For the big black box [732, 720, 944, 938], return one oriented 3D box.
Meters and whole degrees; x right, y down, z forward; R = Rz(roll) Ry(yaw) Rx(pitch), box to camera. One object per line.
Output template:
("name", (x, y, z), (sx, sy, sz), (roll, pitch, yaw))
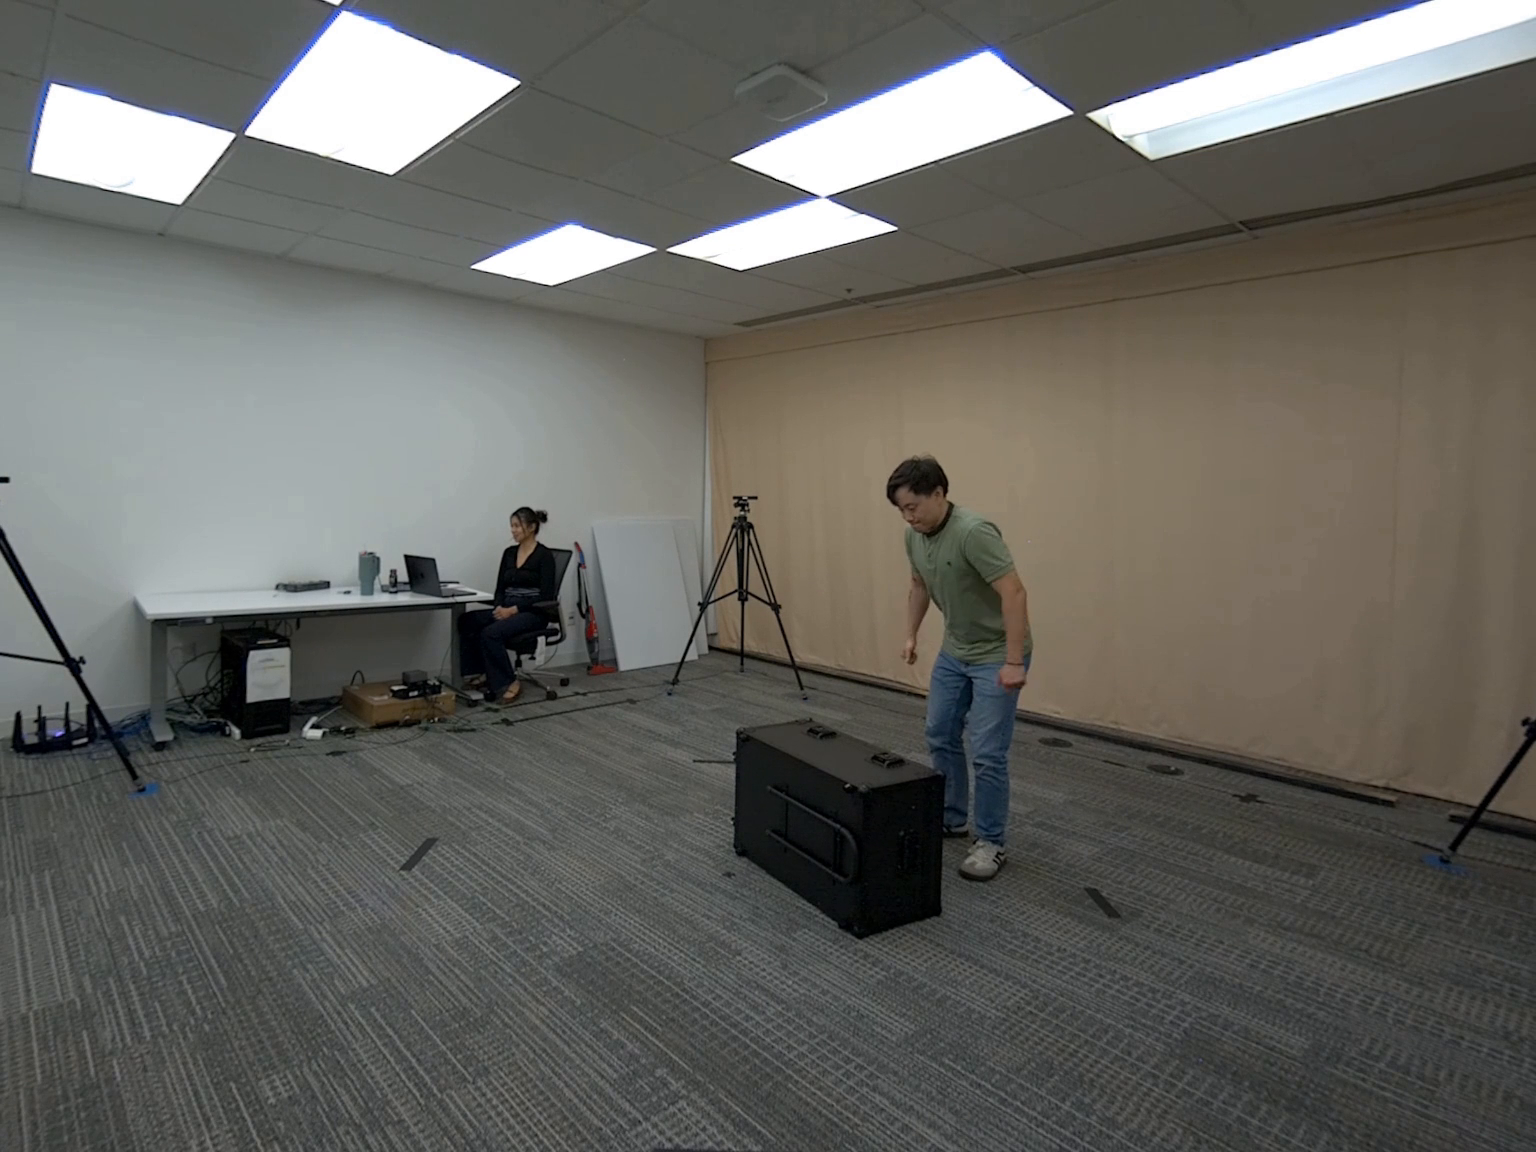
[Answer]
("big black box", (0.196, 0.871, 3.092), (0.388, 0.520, 0.881), (-1, 5, -31))
